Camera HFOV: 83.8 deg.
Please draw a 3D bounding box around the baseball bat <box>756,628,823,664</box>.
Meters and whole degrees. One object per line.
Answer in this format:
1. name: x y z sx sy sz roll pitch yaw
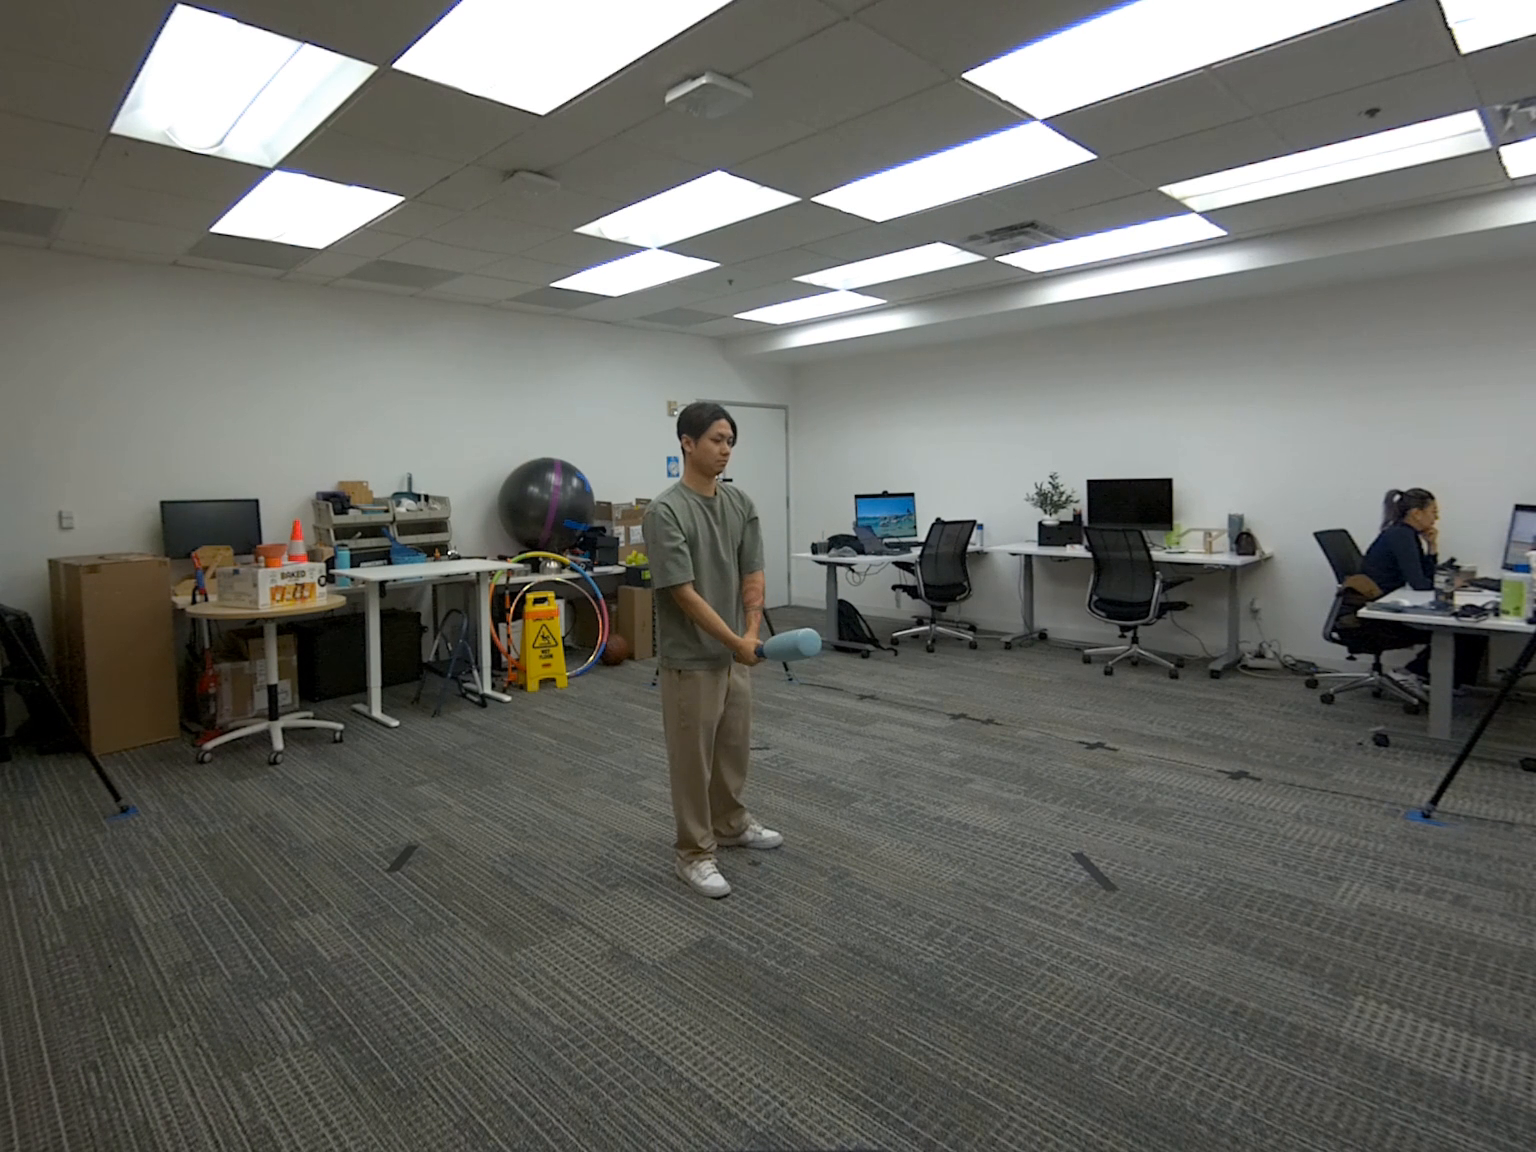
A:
1. baseball bat: 0.024 0.229 2.668 0.087 0.090 0.548 -3 -9 -24
